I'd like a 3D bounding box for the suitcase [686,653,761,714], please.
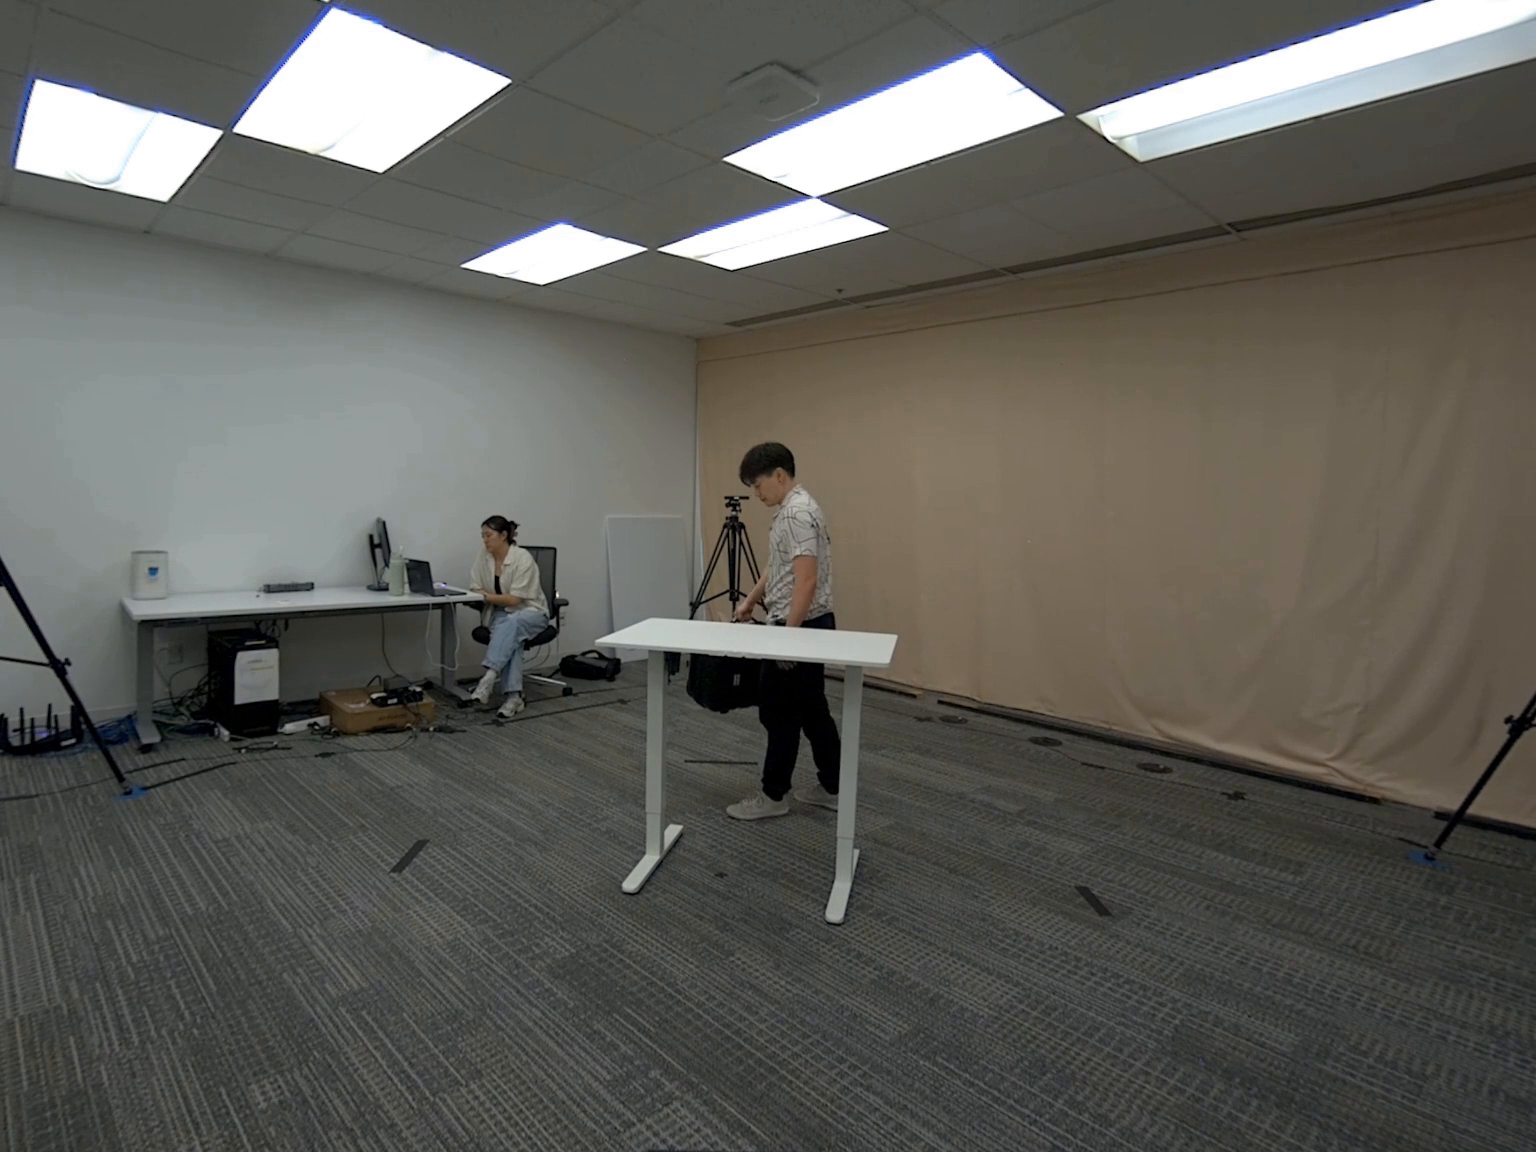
[{"bbox_3d":[-0.117,0.417,3.986,0.537,0.373,0.255,-1,13,-37],"label":"suitcase"}]
